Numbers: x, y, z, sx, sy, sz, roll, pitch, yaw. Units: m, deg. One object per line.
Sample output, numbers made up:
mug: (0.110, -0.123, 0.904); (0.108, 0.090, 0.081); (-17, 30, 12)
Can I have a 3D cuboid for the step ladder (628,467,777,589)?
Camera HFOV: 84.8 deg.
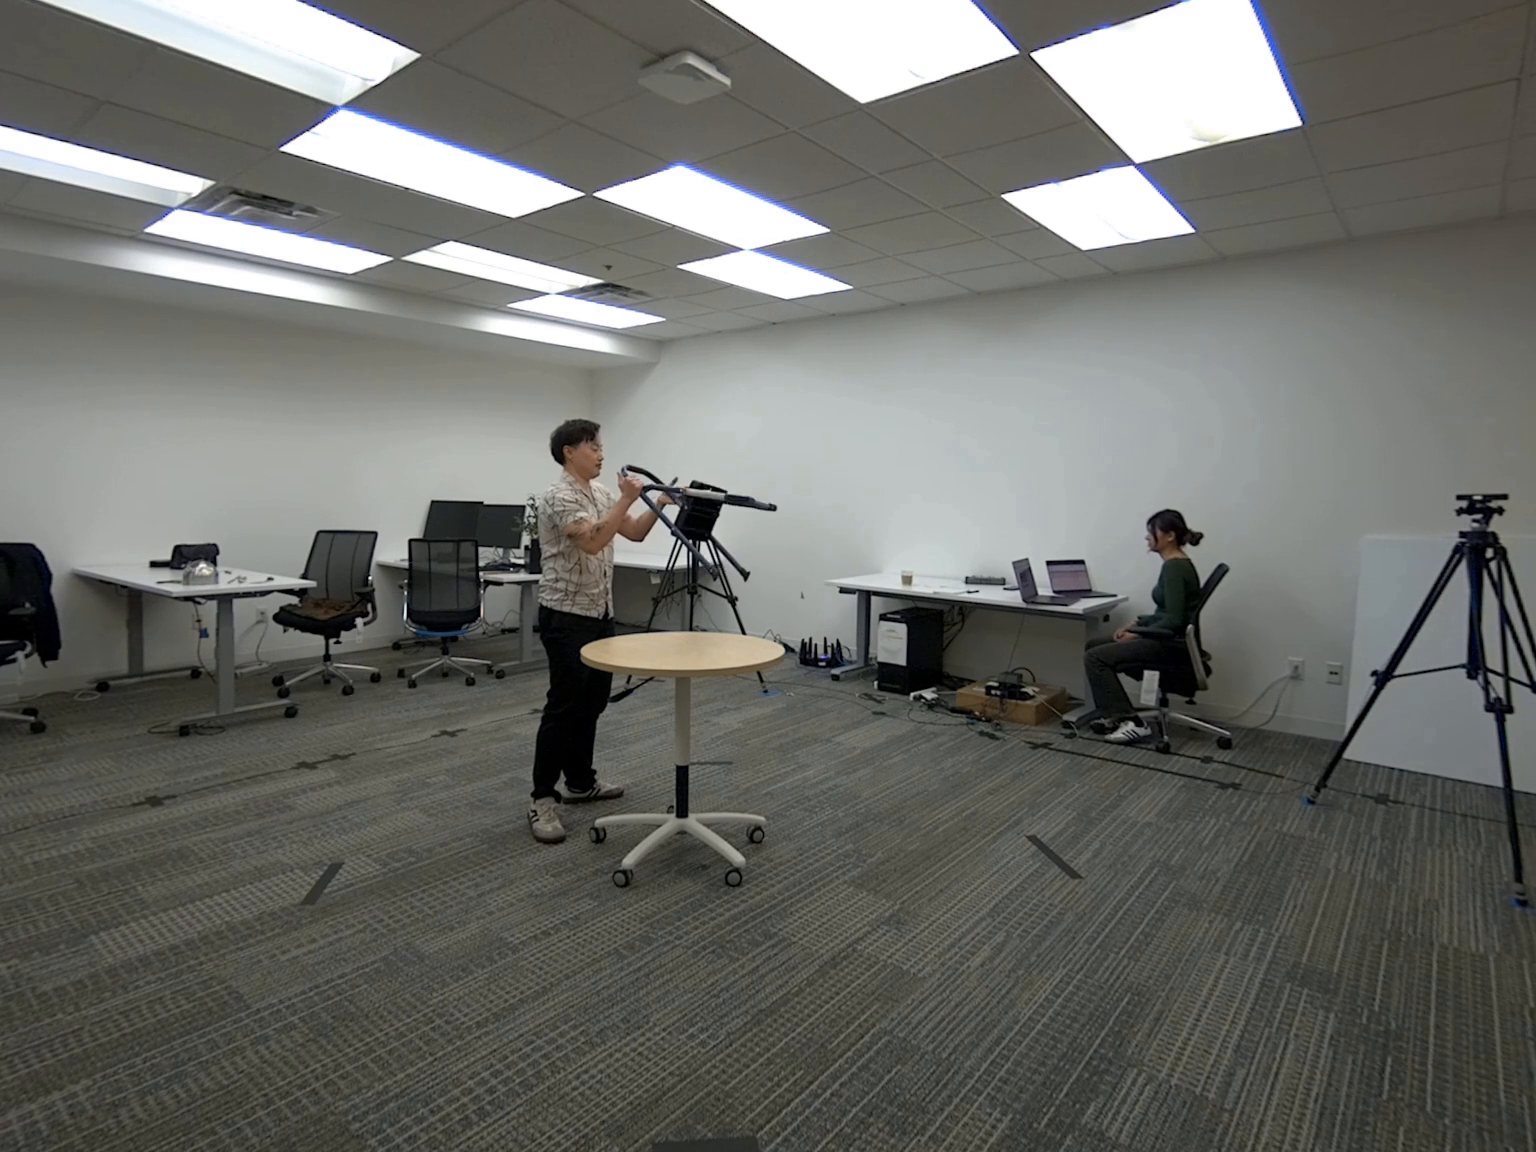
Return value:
step ladder: (-0.355, -0.270, 3.548); (0.621, 0.348, 0.421); (25, 6, 18)
